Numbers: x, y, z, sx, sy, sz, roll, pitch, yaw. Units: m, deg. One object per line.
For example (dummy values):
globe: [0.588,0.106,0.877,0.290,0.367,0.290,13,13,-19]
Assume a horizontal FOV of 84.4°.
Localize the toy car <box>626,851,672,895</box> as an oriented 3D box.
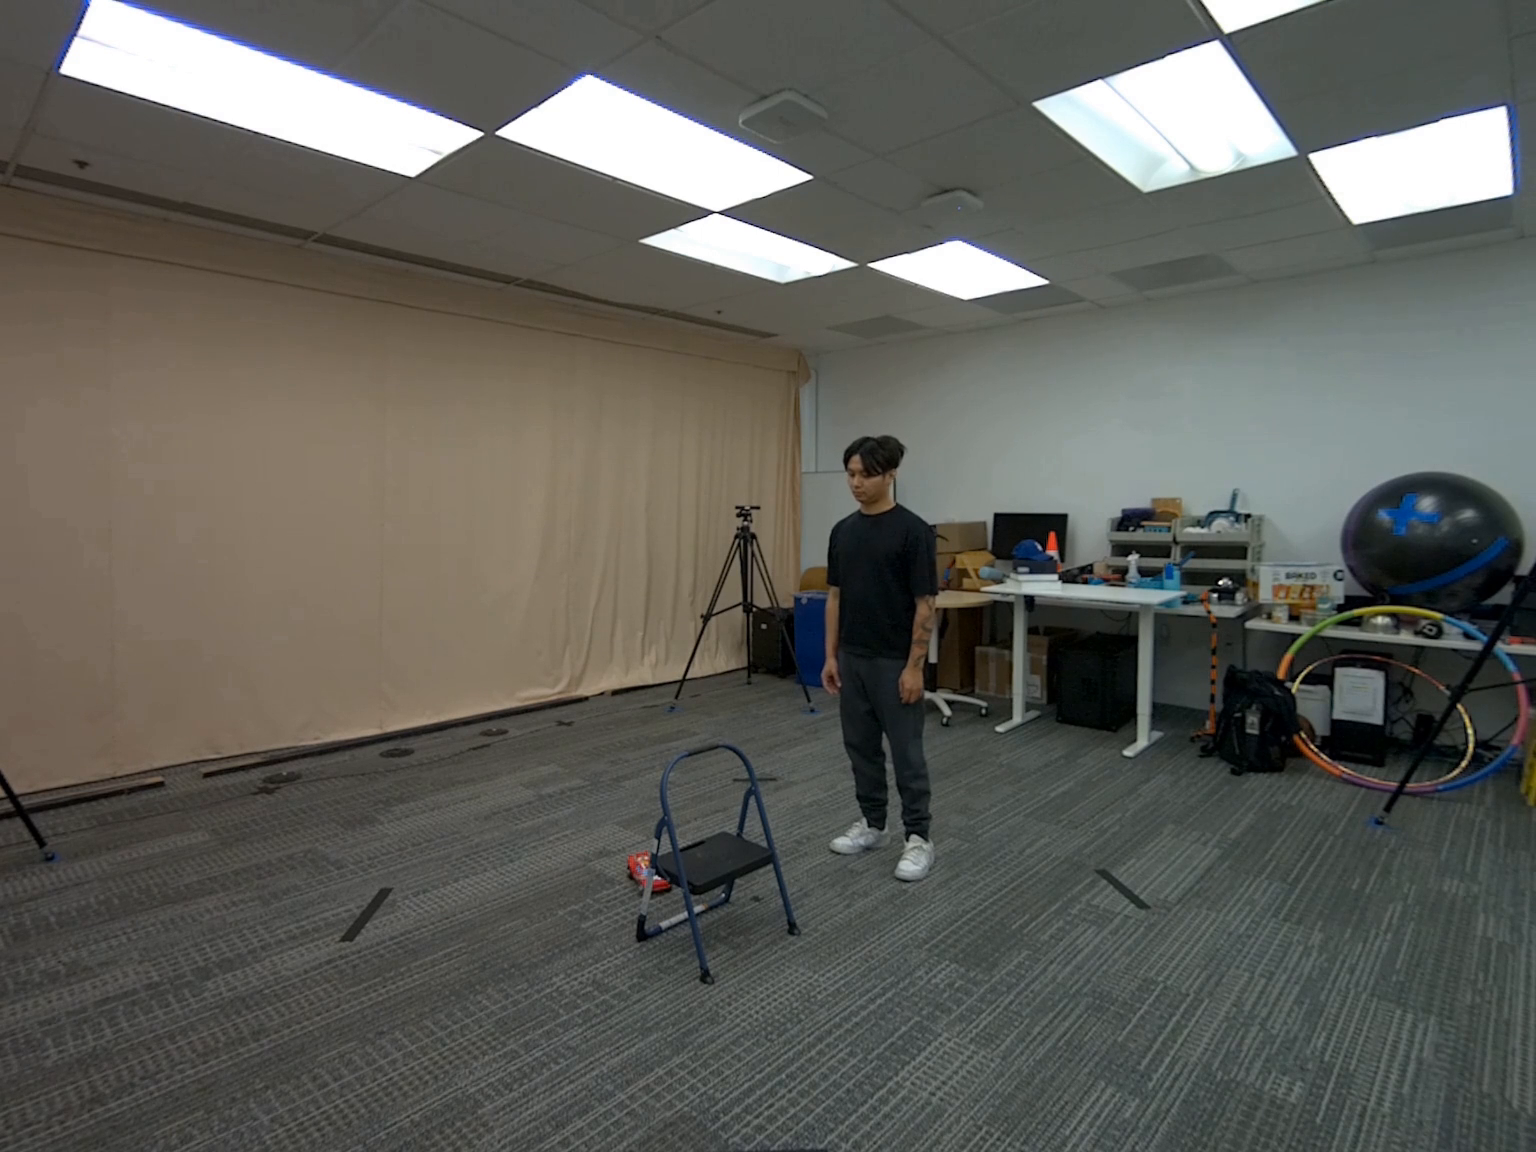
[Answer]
toy car: [-0.447,1.103,3.129,0.127,0.082,0.263,-3,17,-25]
